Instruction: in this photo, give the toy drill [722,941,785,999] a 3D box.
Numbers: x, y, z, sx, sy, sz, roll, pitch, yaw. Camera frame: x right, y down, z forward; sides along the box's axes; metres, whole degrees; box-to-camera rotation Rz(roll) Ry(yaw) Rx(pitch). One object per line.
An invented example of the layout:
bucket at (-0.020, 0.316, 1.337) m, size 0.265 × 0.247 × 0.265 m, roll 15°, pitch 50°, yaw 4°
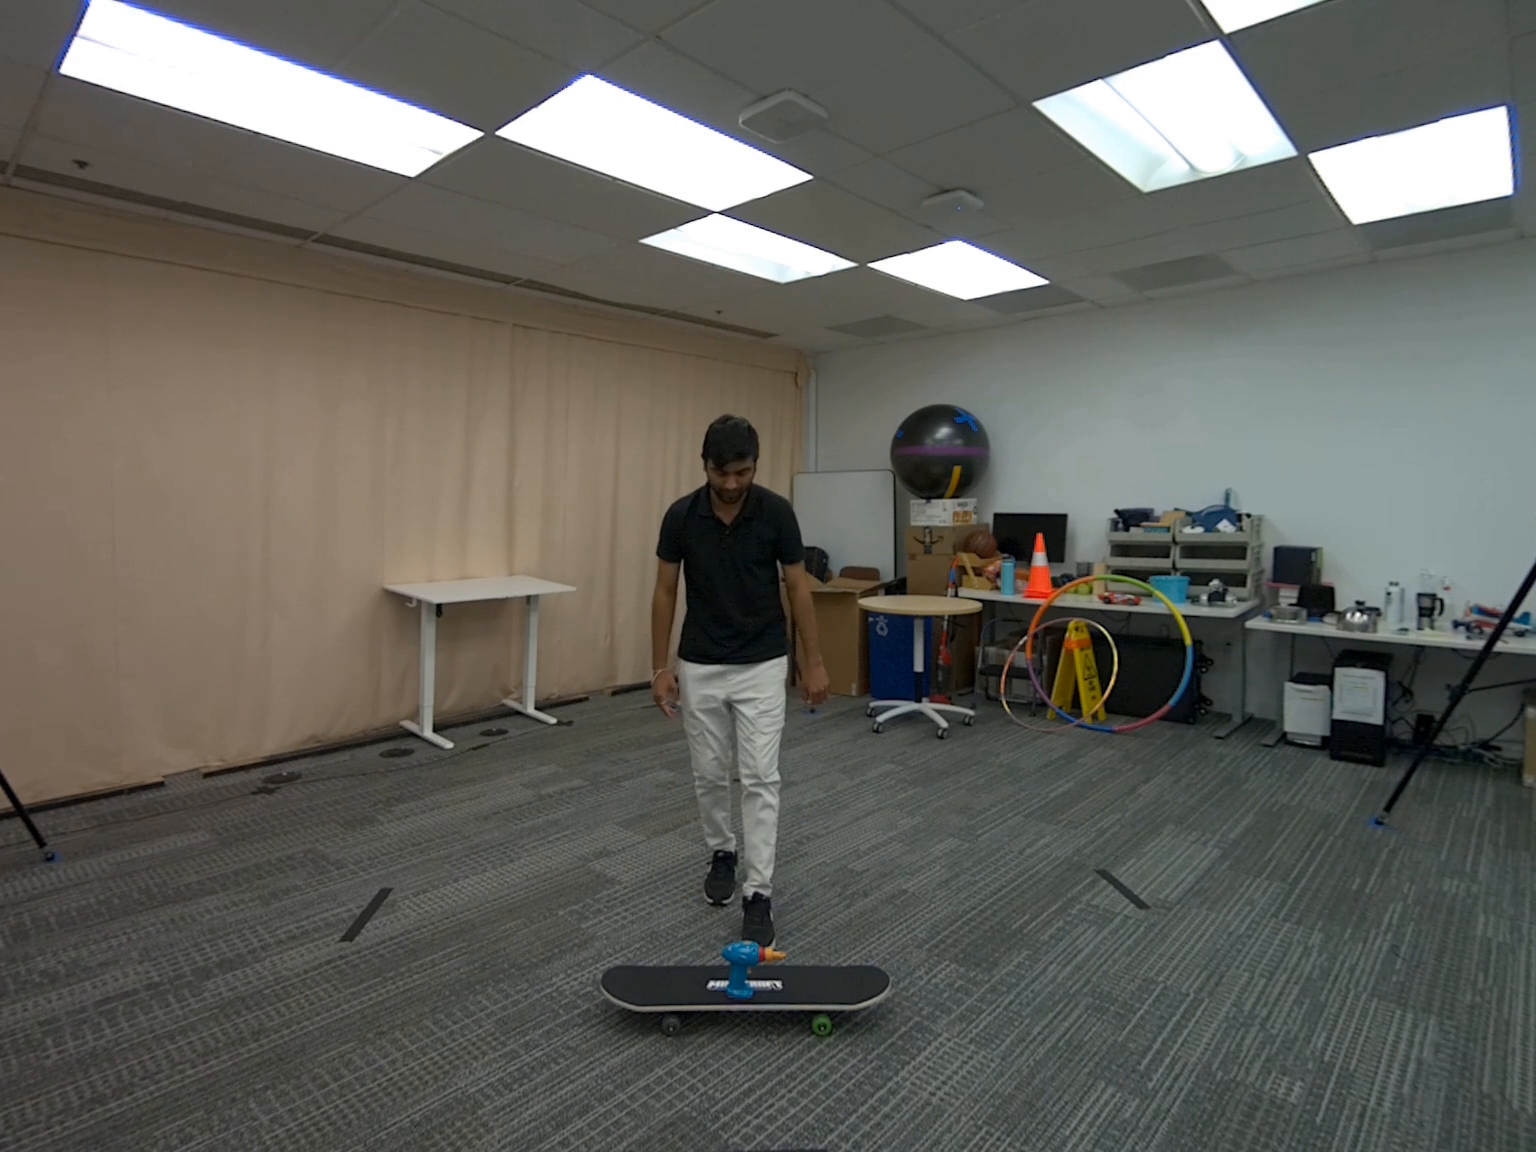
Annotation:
toy drill at (-0.034, 1.039, 2.245) m, size 0.170 × 0.146 × 0.061 m, roll 1°, pitch 0°, yaw 0°
